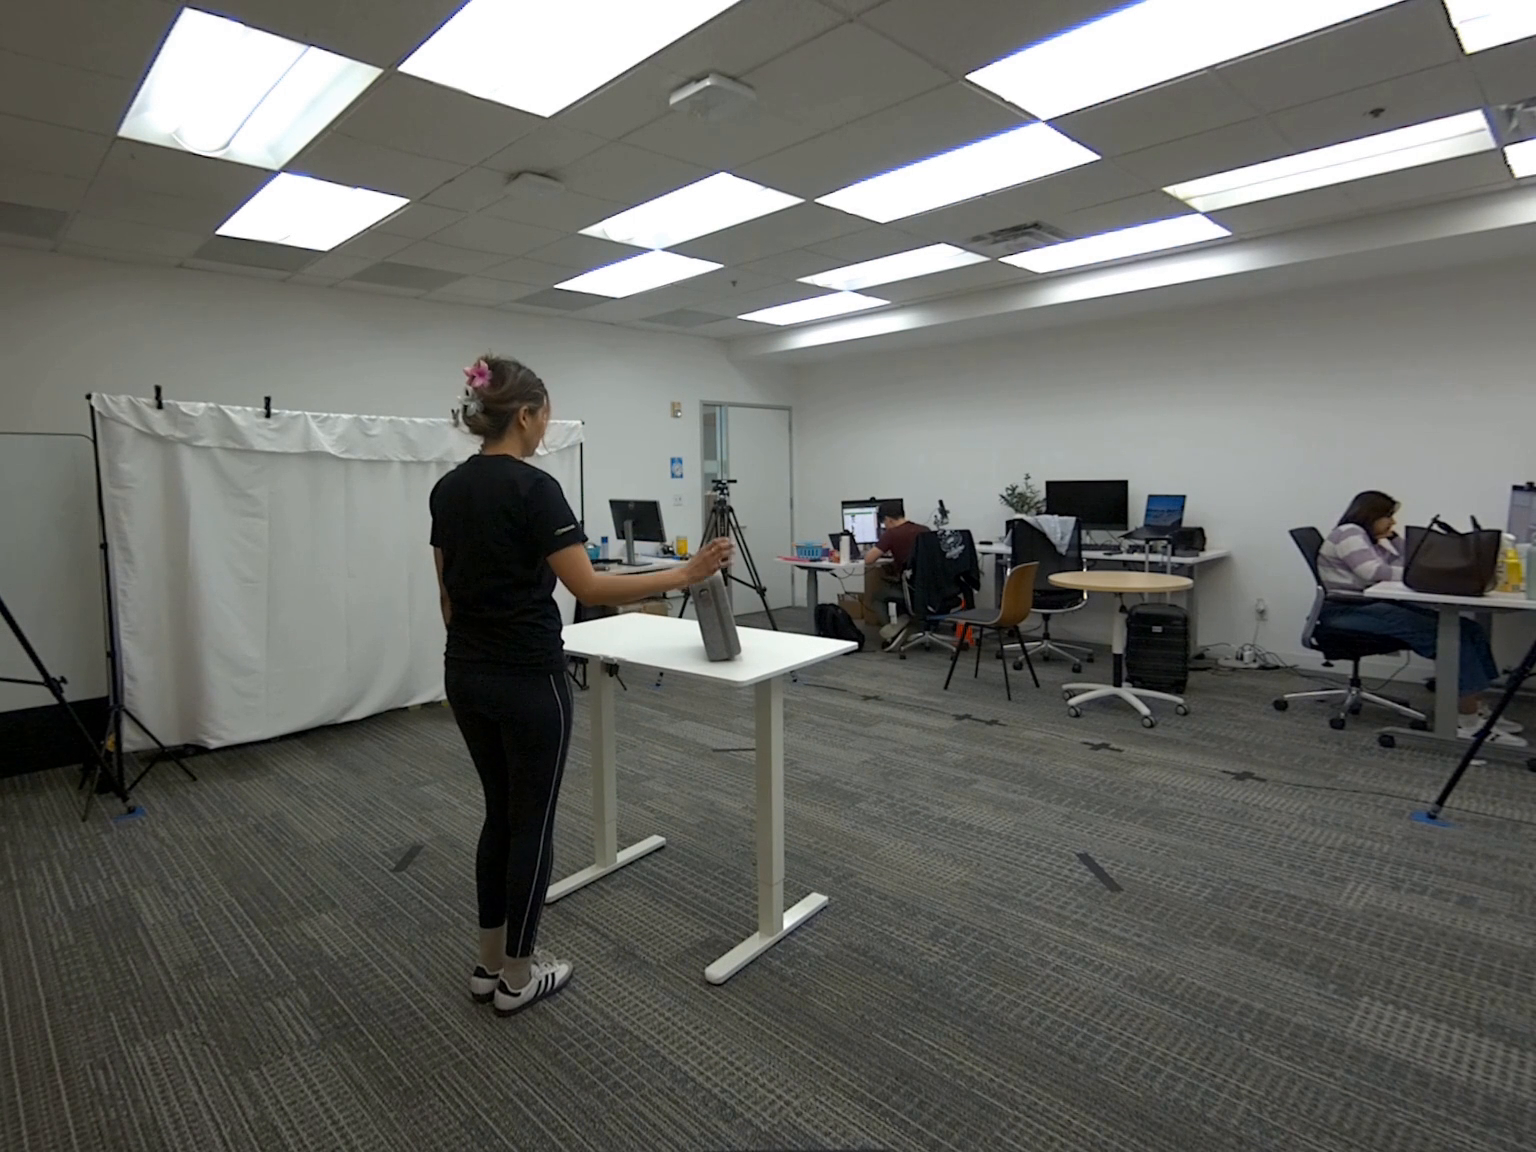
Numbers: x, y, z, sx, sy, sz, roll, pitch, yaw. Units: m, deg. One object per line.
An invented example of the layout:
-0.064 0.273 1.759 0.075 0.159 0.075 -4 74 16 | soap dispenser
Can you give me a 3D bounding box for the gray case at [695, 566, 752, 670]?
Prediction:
-0.143 0.107 2.542 0.104 0.259 0.260 -13 8 -5 | gray case
